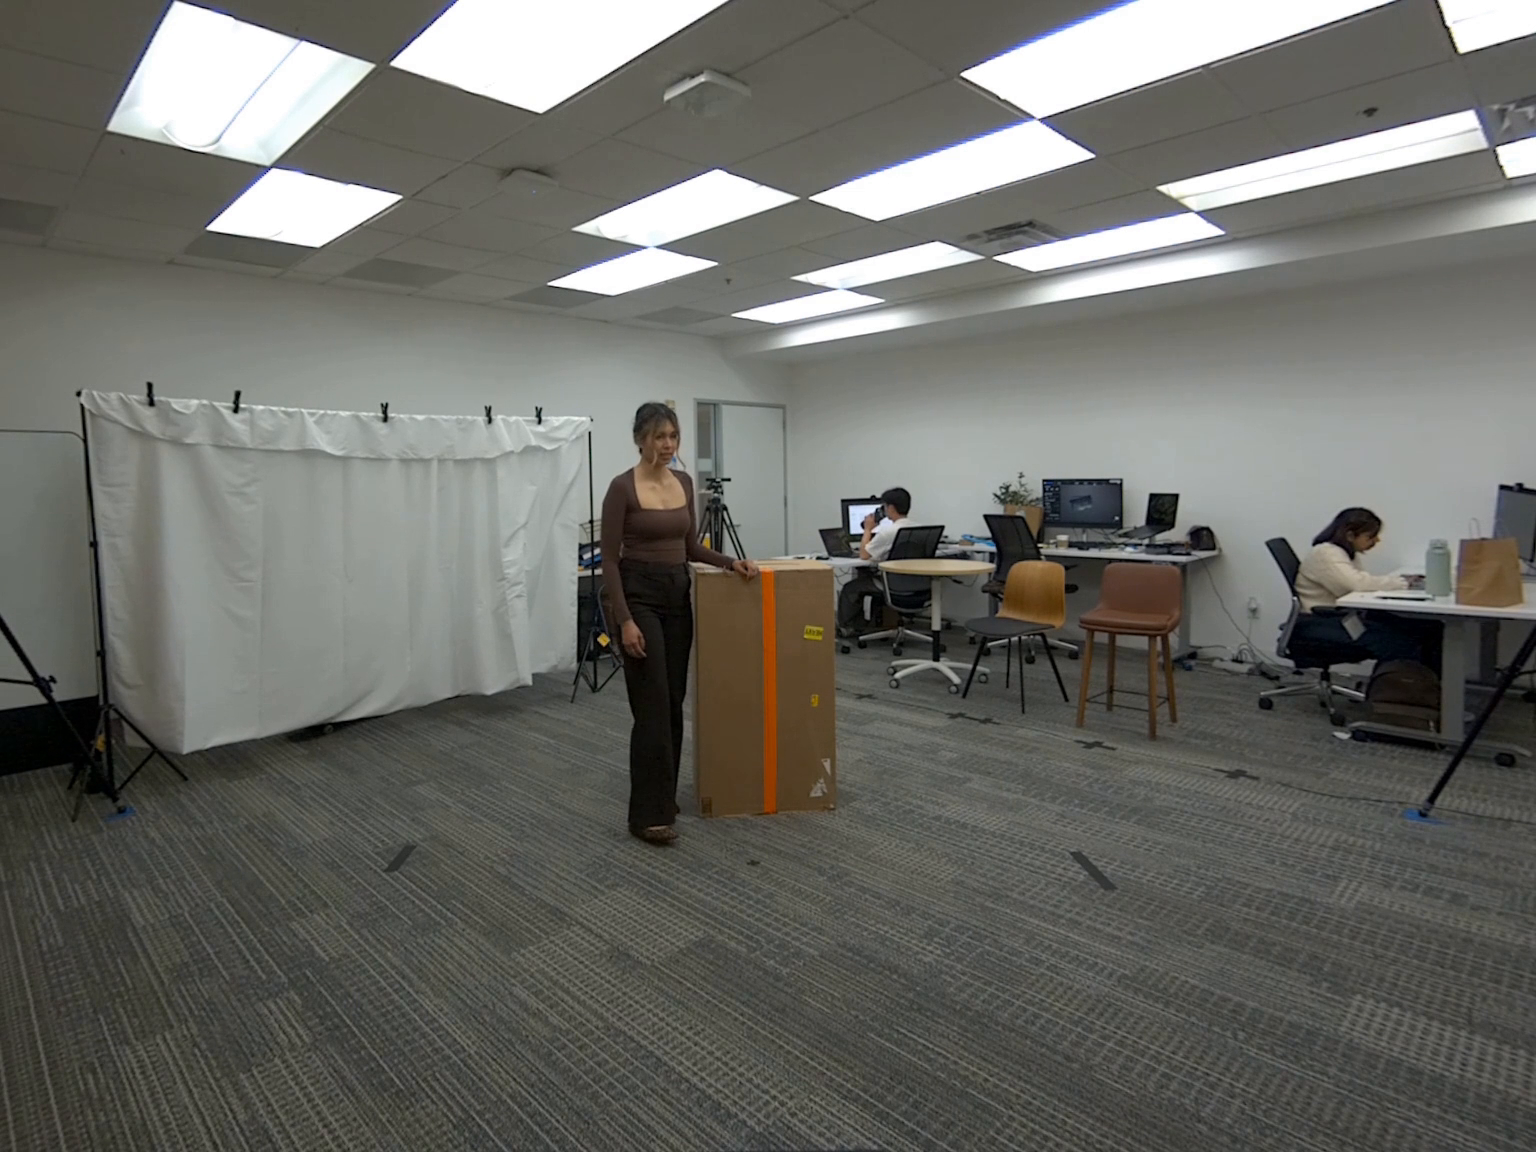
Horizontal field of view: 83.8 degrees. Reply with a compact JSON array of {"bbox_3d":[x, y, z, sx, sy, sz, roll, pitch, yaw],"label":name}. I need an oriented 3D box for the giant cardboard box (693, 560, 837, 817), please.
[{"bbox_3d":[-0.031,0.462,3.737,0.580,1.024,0.451,-1,4,-8],"label":"giant cardboard box"}]
